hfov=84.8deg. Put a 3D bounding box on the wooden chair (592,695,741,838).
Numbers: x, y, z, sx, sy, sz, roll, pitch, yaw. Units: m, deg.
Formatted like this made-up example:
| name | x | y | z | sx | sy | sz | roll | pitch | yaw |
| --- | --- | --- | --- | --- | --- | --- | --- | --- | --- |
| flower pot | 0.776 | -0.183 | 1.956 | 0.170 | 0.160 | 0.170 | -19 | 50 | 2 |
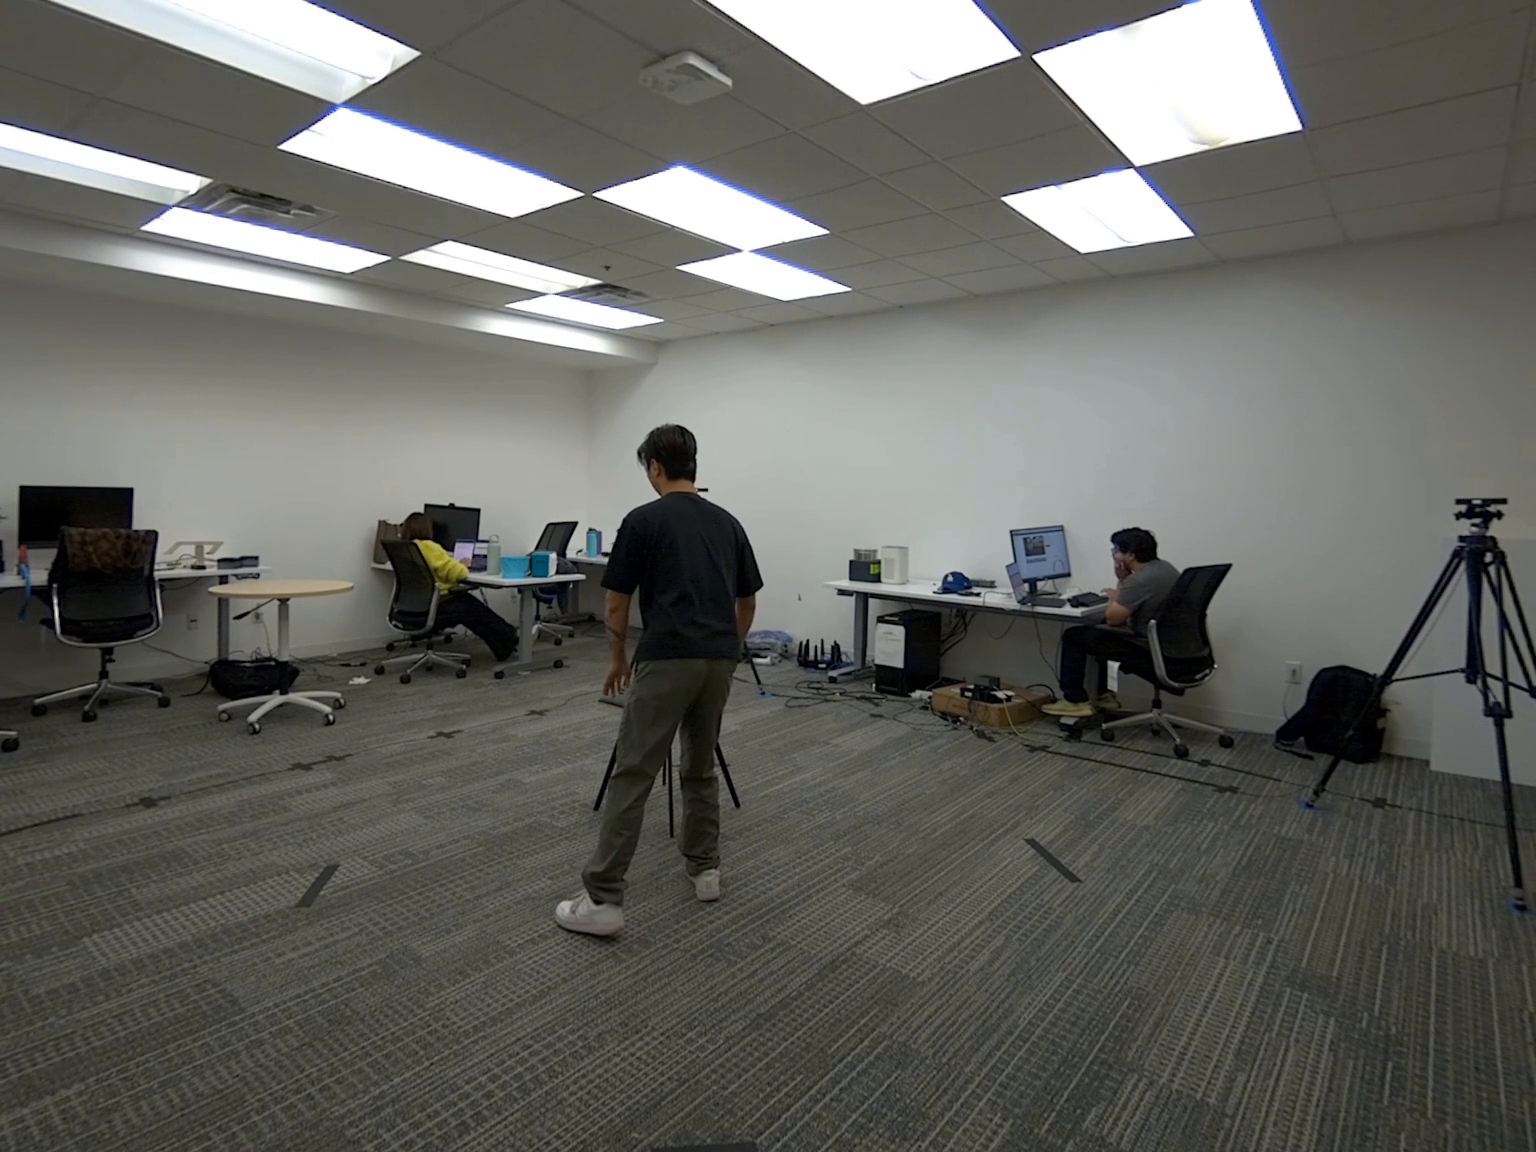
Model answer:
| name | x | y | z | sx | sy | sz | roll | pitch | yaw |
| --- | --- | --- | --- | --- | --- | --- | --- | --- | --- |
| wooden chair | -0.445 | 0.581 | 3.670 | 0.541 | 0.873 | 0.464 | 9 | 7 | 36 |
